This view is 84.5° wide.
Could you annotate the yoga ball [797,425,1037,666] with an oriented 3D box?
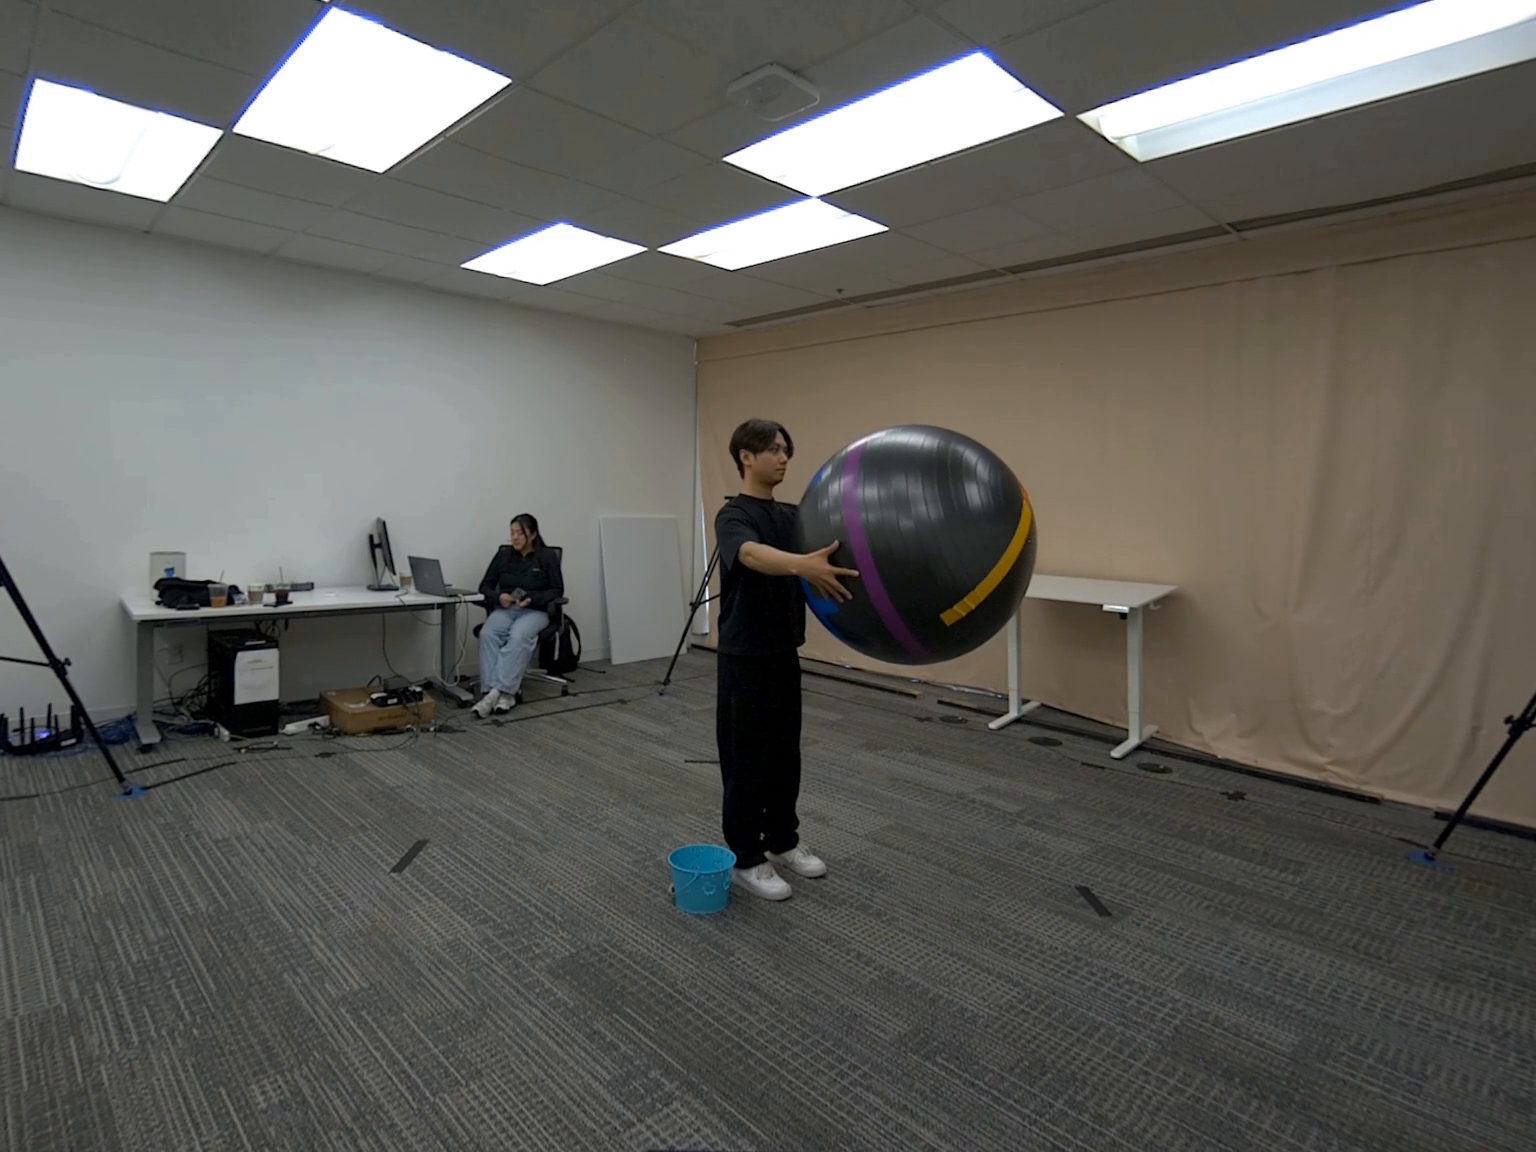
[{"bbox_3d":[0.463,-0.093,2.680,0.757,0.756,0.761,1,4,-1],"label":"yoga ball"}]
